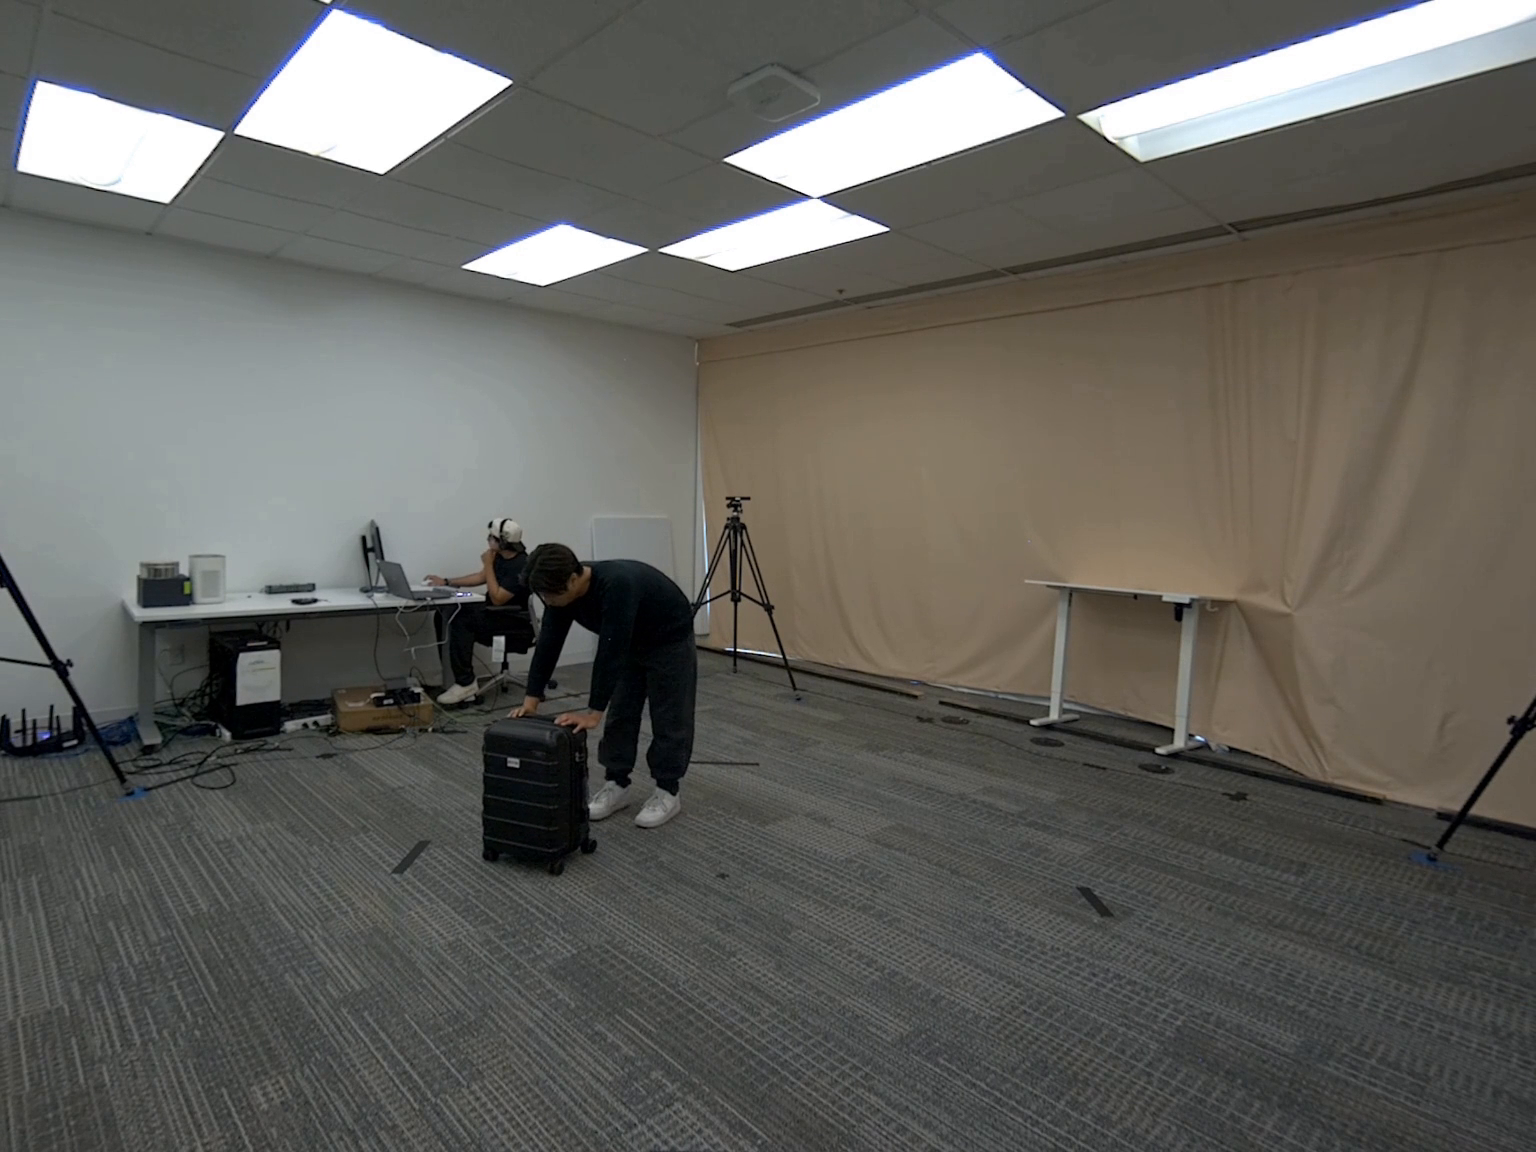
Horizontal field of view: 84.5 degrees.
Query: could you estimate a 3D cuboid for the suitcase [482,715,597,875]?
[{"bbox_3d":[-0.892,0.810,3.196,0.382,0.547,0.245,2,5,22],"label":"suitcase"}]
